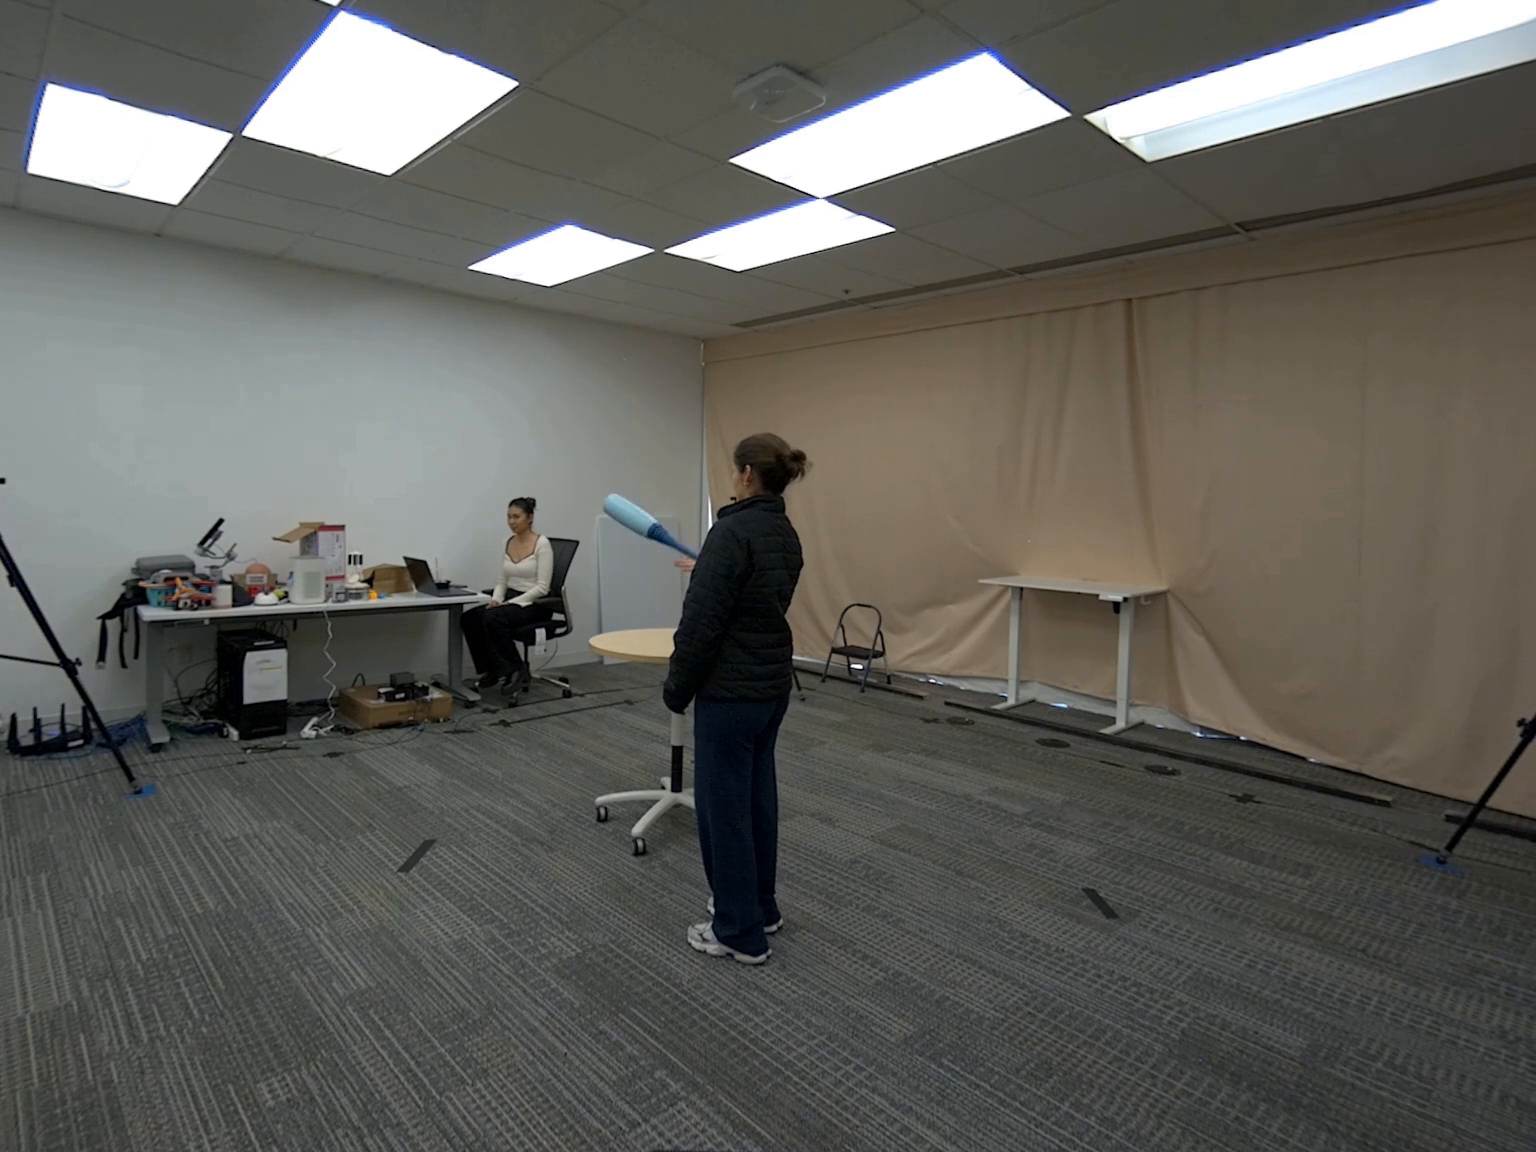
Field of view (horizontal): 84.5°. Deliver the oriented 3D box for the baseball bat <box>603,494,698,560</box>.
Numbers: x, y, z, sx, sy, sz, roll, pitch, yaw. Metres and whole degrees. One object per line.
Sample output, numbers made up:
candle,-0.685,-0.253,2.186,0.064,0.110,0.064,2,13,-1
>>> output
baseball bat,-0.396,-0.111,3.011,0.558,0.088,0.087,32,20,30
